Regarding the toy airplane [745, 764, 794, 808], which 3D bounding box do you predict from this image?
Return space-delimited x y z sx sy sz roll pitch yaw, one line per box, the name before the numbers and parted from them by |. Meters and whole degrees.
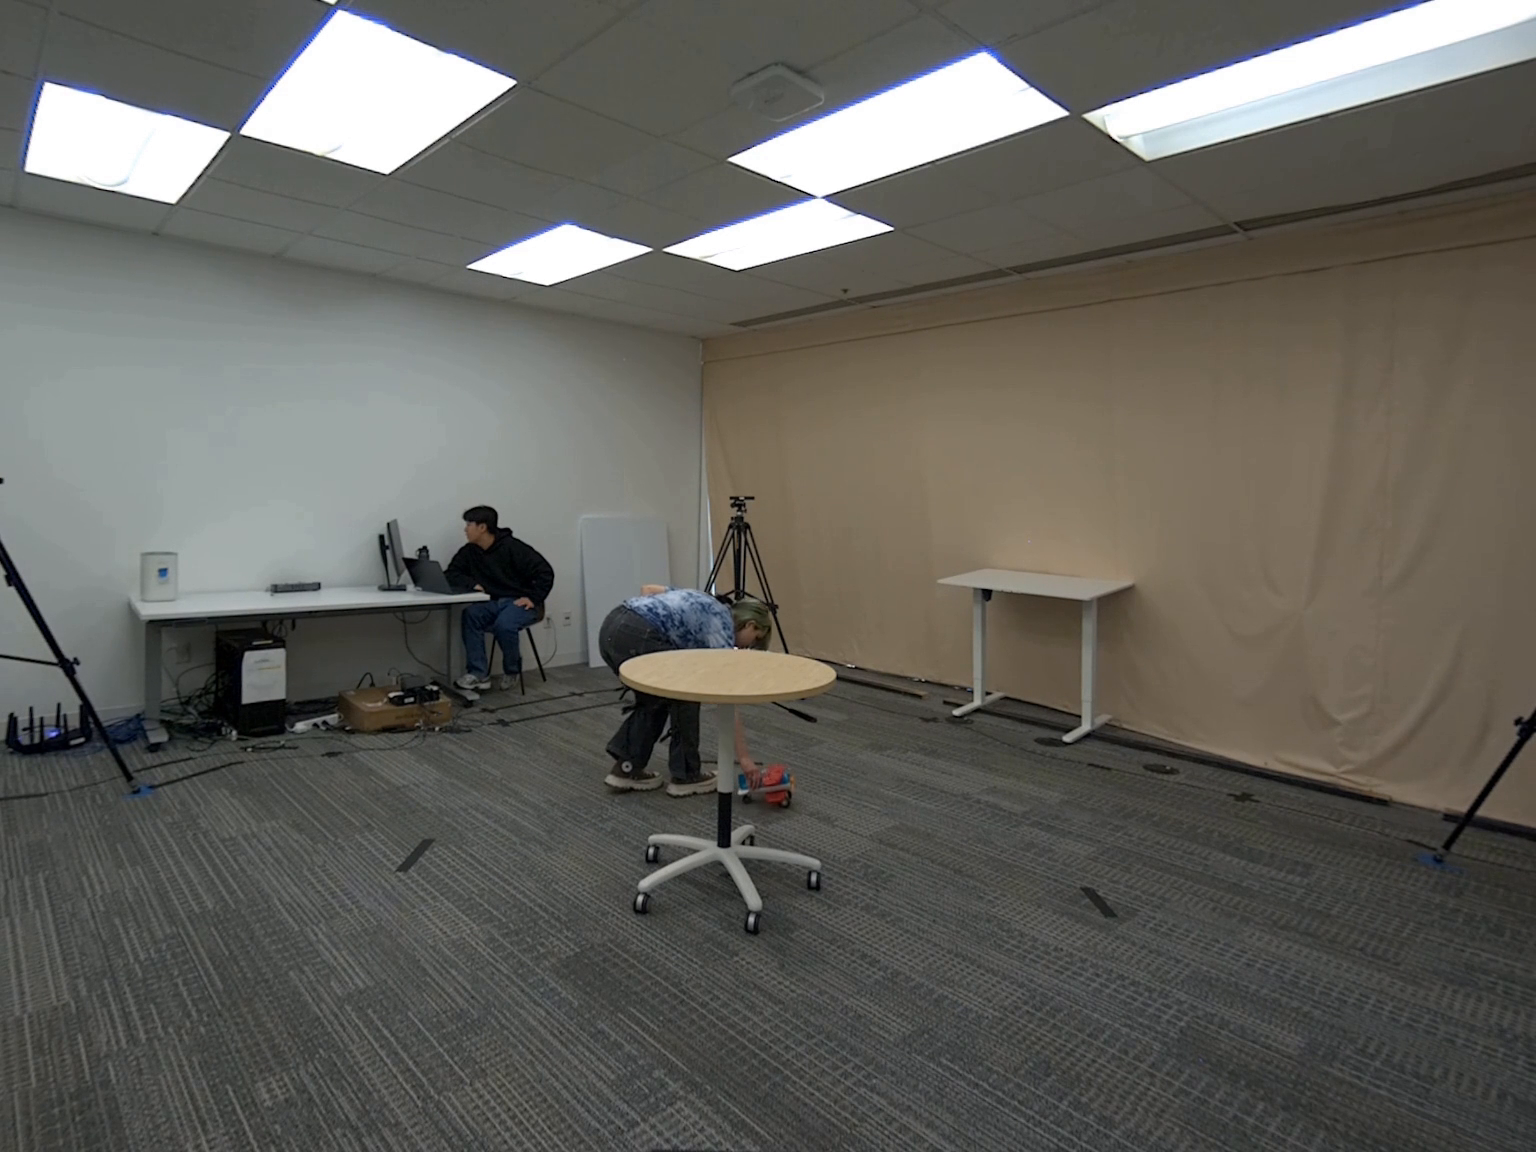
toy airplane | -0.020 0.971 3.846 0.255 0.156 0.256 -1 6 -20
